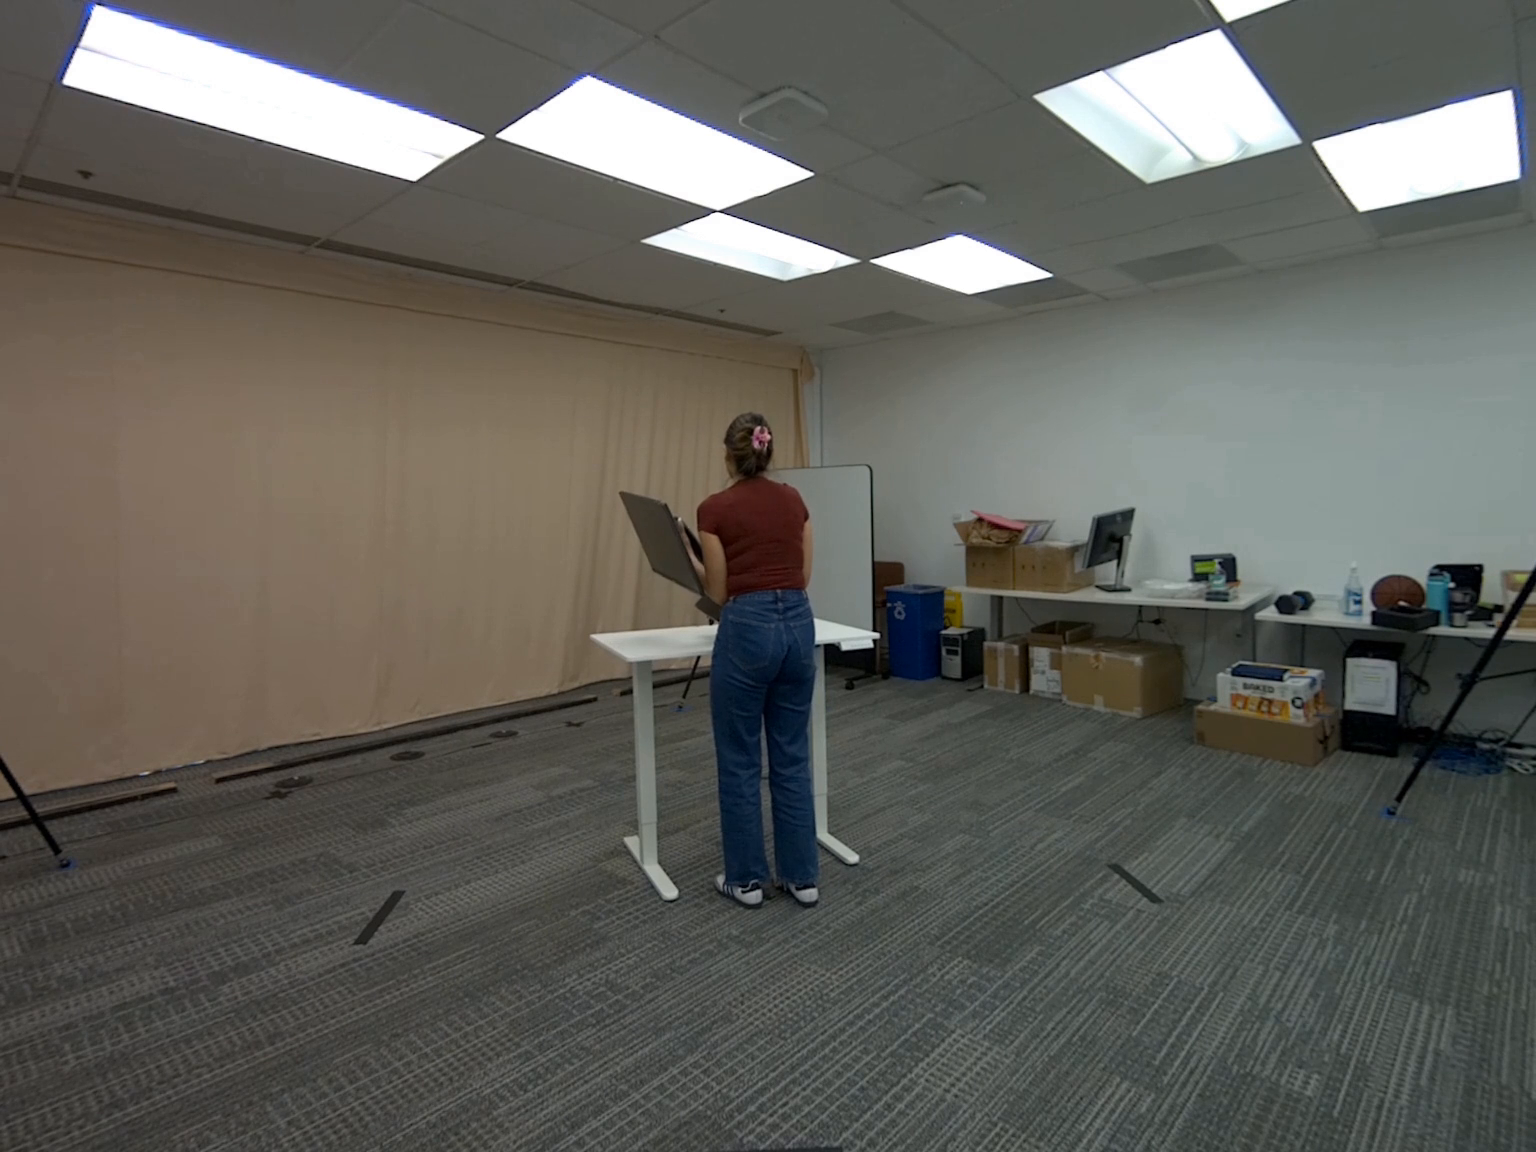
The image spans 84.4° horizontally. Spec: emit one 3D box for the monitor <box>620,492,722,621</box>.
[{"bbox_3d":[-0.325,-0.085,3.134,0.186,0.510,0.554,-43,23,-13],"label":"monitor"}]
